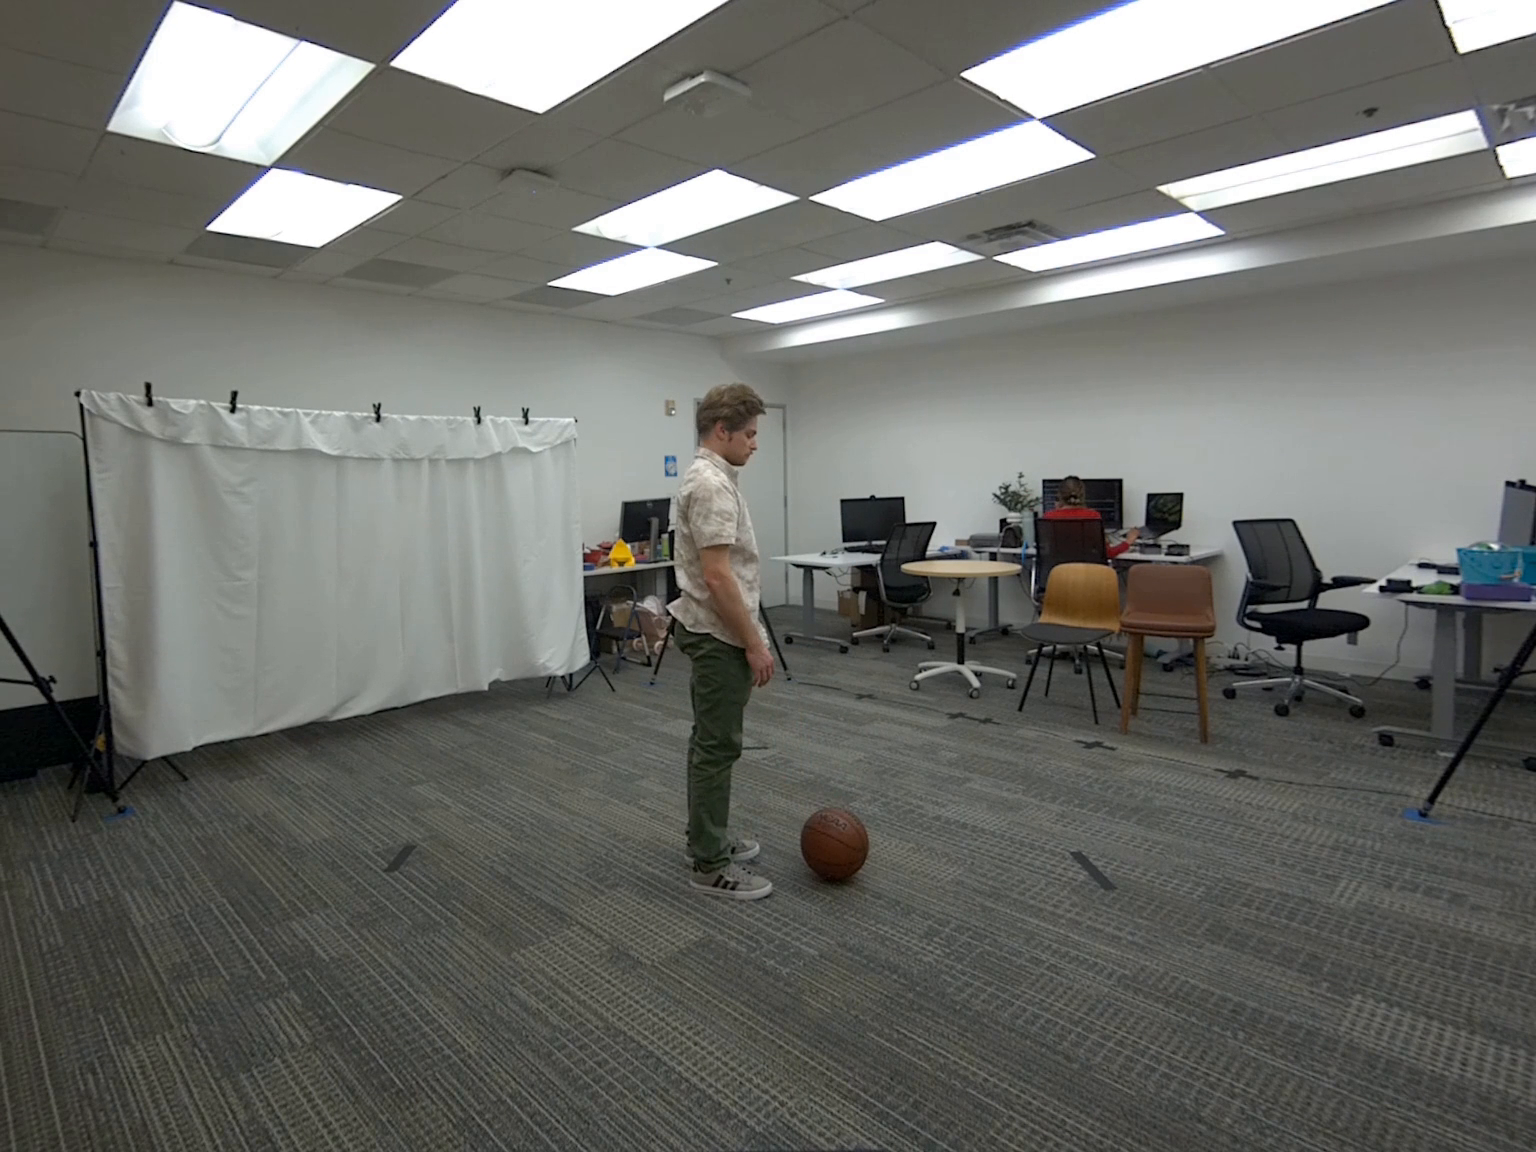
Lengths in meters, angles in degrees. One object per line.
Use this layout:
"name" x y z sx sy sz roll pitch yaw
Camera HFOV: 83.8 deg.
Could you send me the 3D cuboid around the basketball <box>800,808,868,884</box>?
"basketball" 0.230 0.926 2.978 0.236 0.235 0.237 -1 5 -2
